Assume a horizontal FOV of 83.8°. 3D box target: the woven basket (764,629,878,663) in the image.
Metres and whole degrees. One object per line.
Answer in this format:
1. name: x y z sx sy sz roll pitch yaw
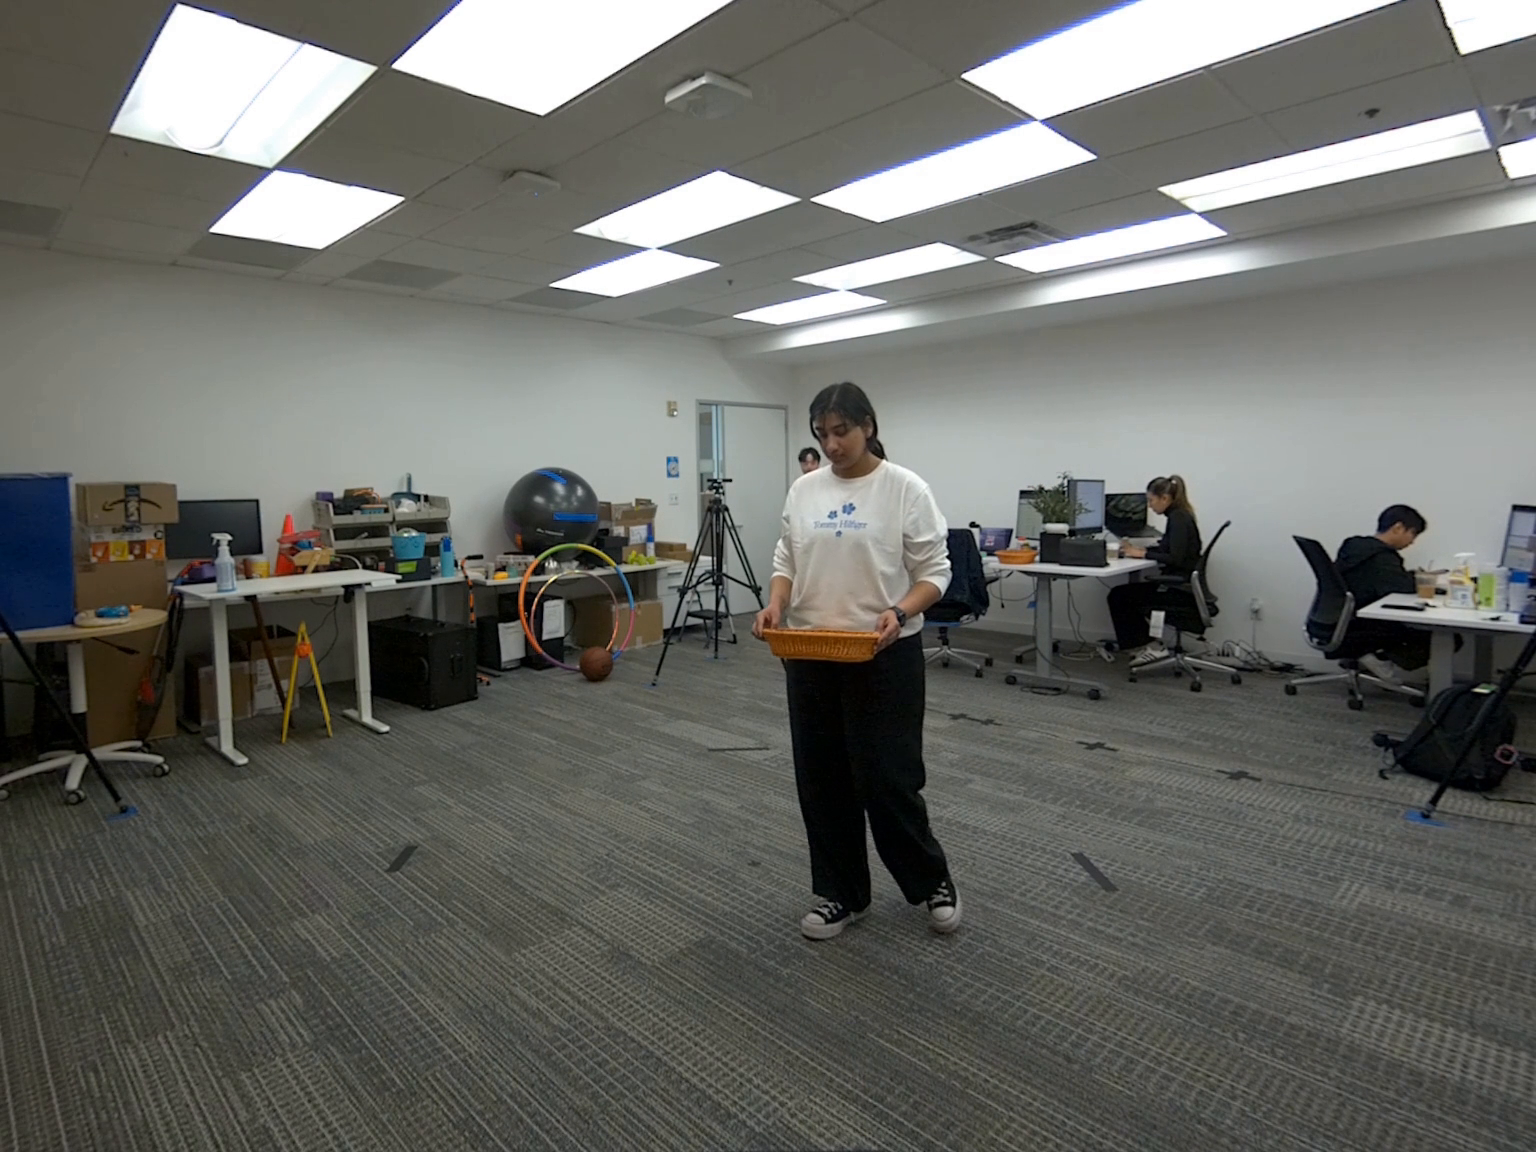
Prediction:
1. woven basket: 0.174 0.194 2.362 0.360 0.073 0.245 1 2 34
